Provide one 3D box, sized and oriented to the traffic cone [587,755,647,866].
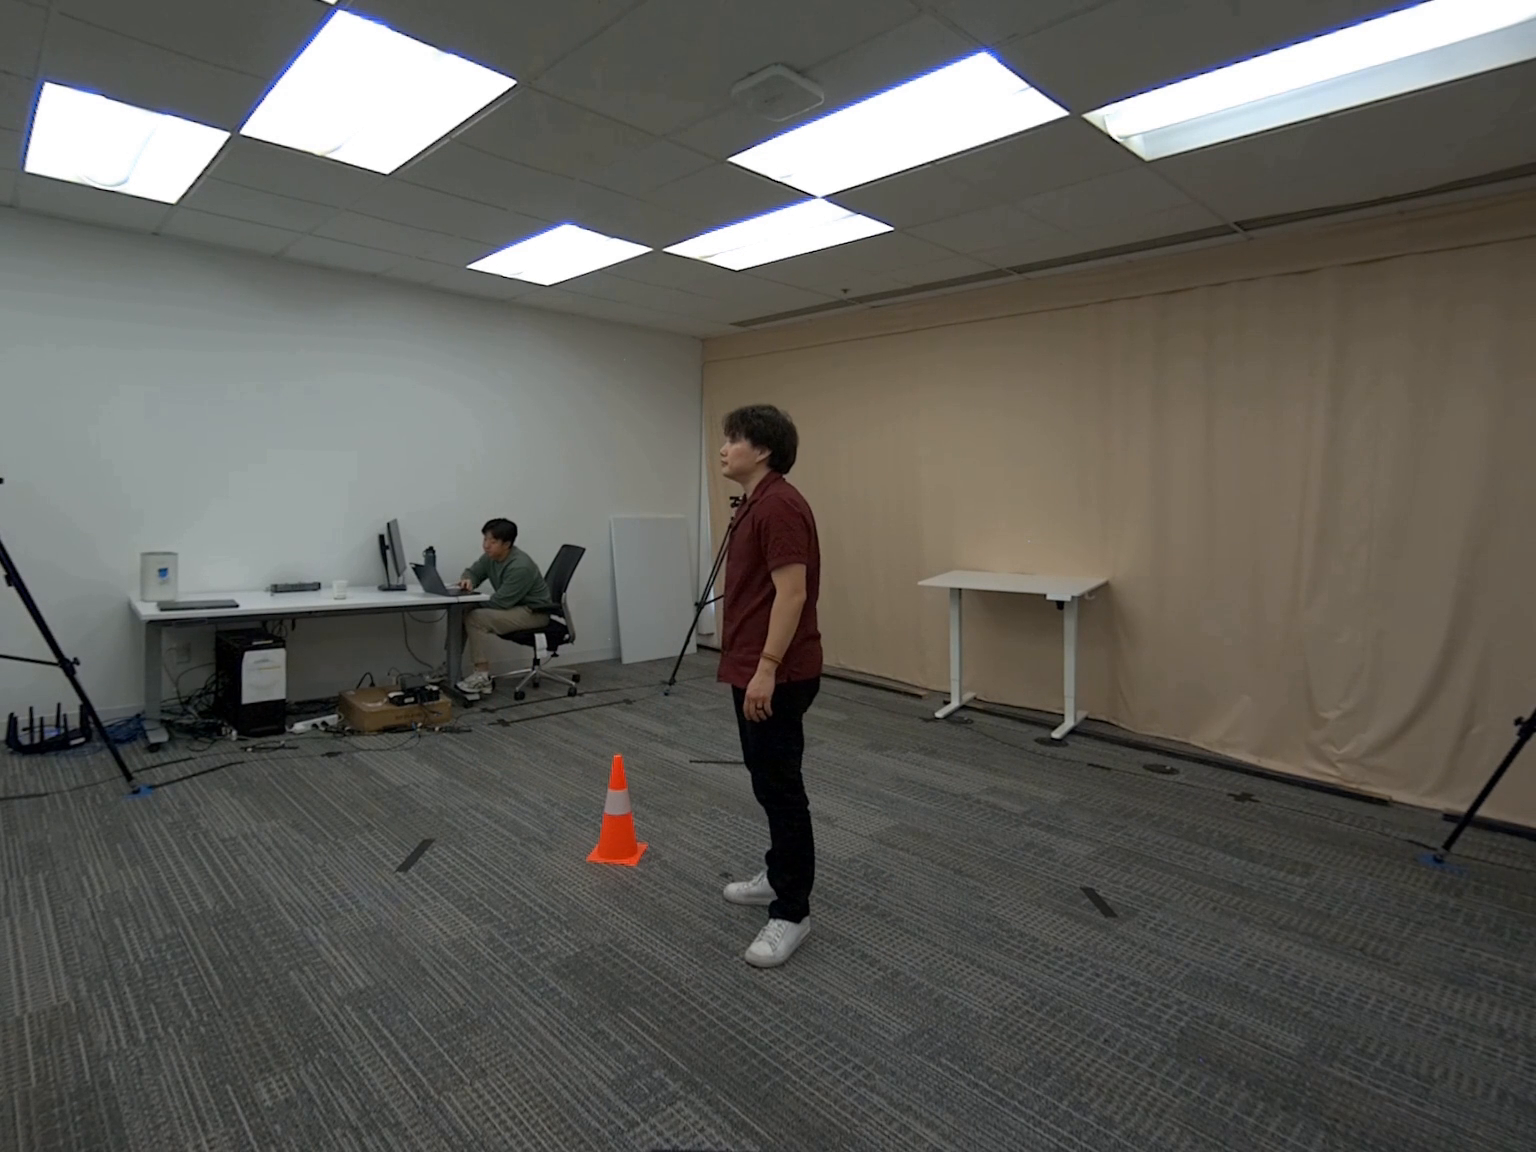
[{"bbox_3d":[-0.599,0.895,3.271,0.207,0.383,0.202,1,3,10],"label":"traffic cone"}]
